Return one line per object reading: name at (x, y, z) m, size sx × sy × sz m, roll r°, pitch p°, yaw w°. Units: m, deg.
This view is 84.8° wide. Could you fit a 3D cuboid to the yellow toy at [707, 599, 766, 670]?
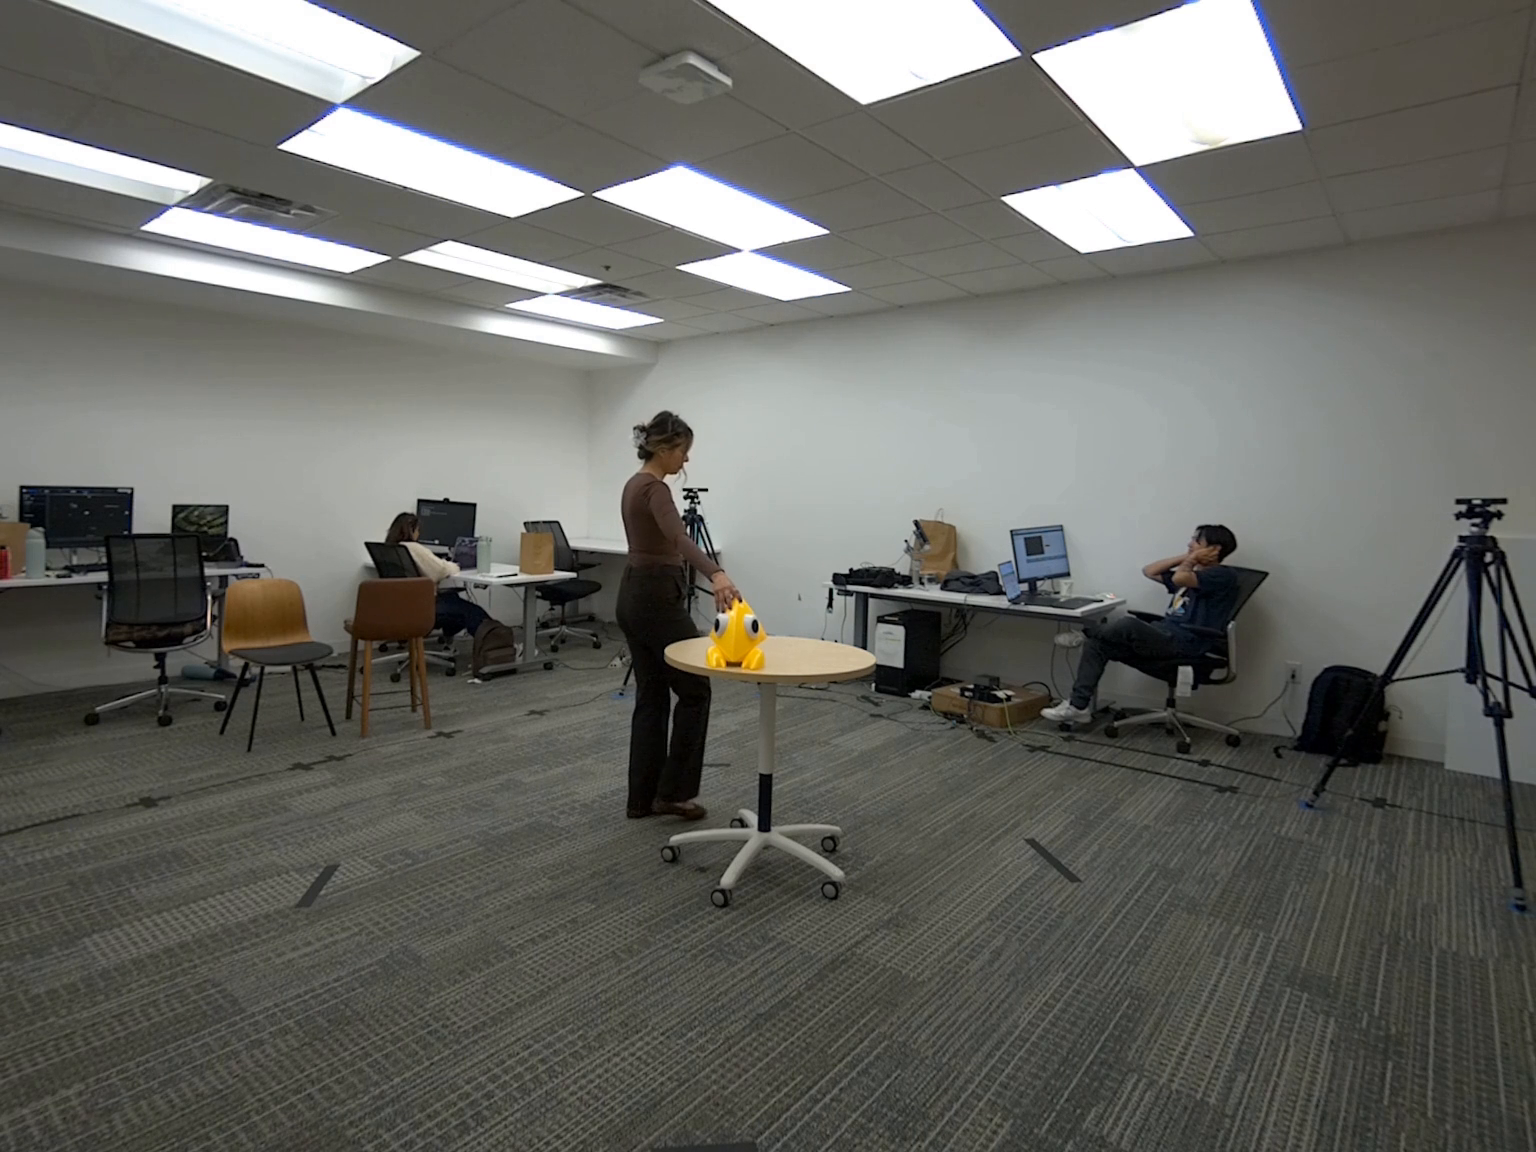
yellow toy at (-0.116, 0.179, 2.875) m, size 0.206 × 0.230 × 0.192 m, roll 1°, pitch 3°, yaw 5°
